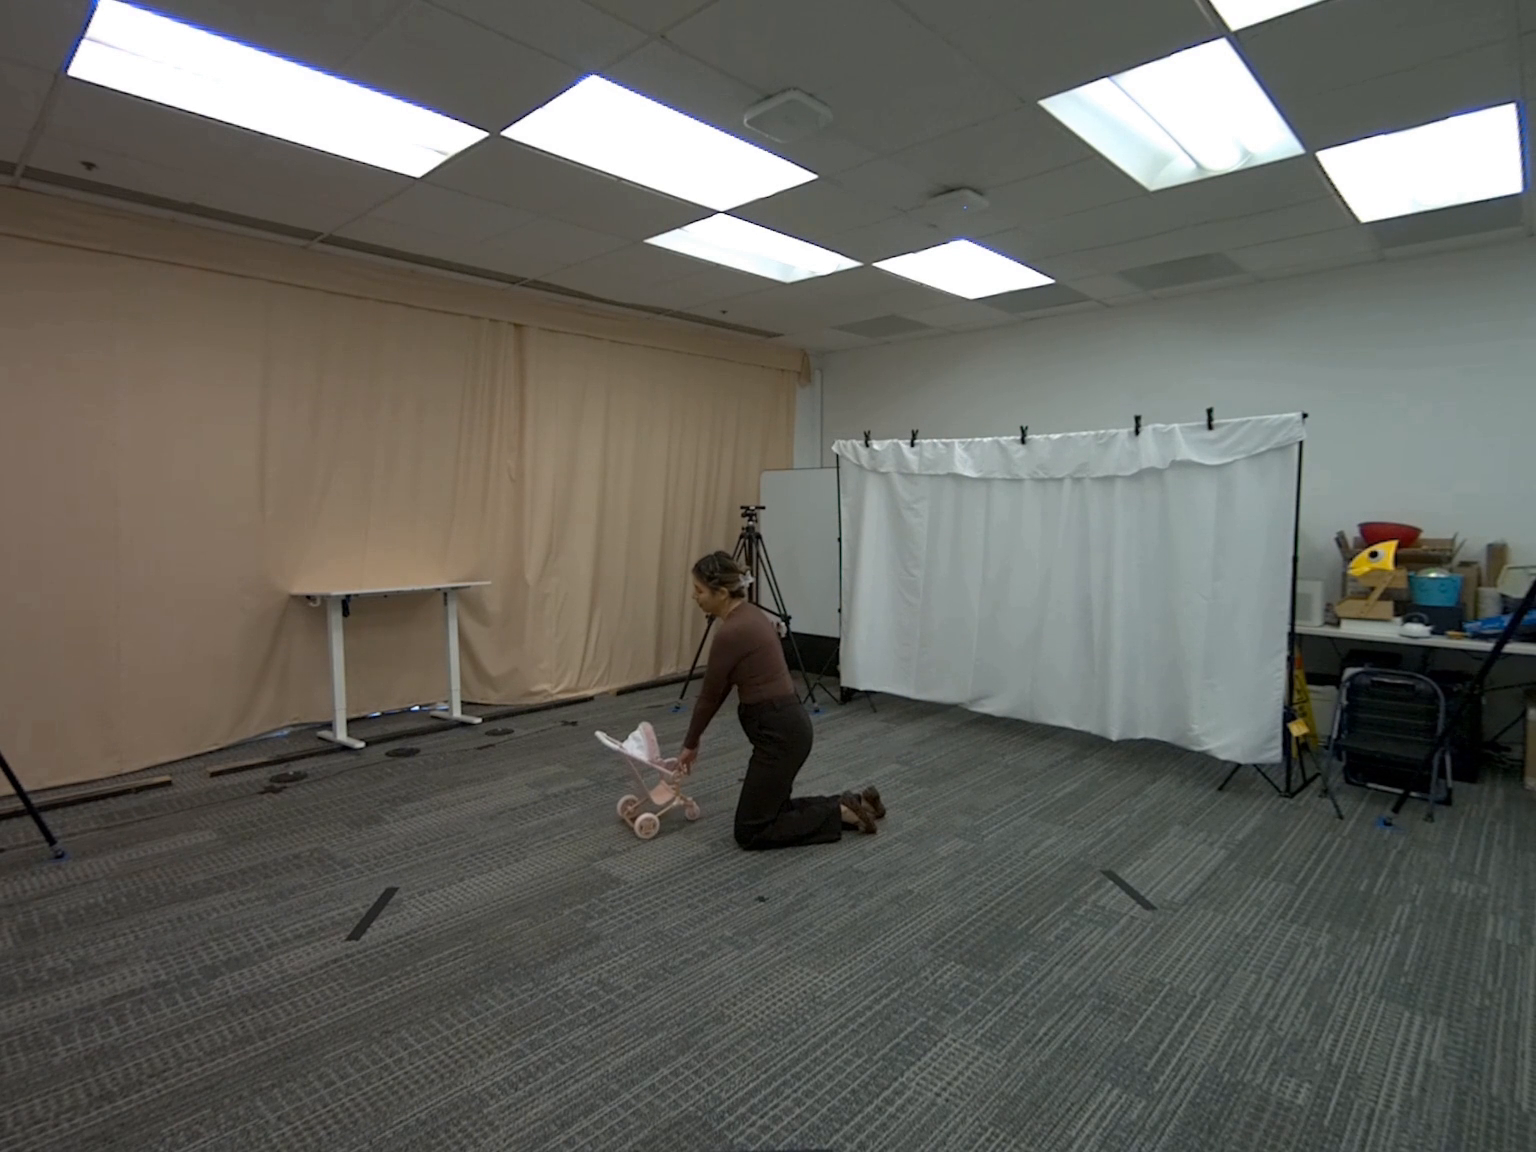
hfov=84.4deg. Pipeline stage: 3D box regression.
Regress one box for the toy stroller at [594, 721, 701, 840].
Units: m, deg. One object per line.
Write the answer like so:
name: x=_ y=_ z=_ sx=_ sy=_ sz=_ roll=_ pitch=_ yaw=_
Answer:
toy stroller: x=-0.508 y=0.873 z=3.662 sx=0.336 sy=0.531 sz=0.288 roll=-19 pitch=10 yaw=-20
